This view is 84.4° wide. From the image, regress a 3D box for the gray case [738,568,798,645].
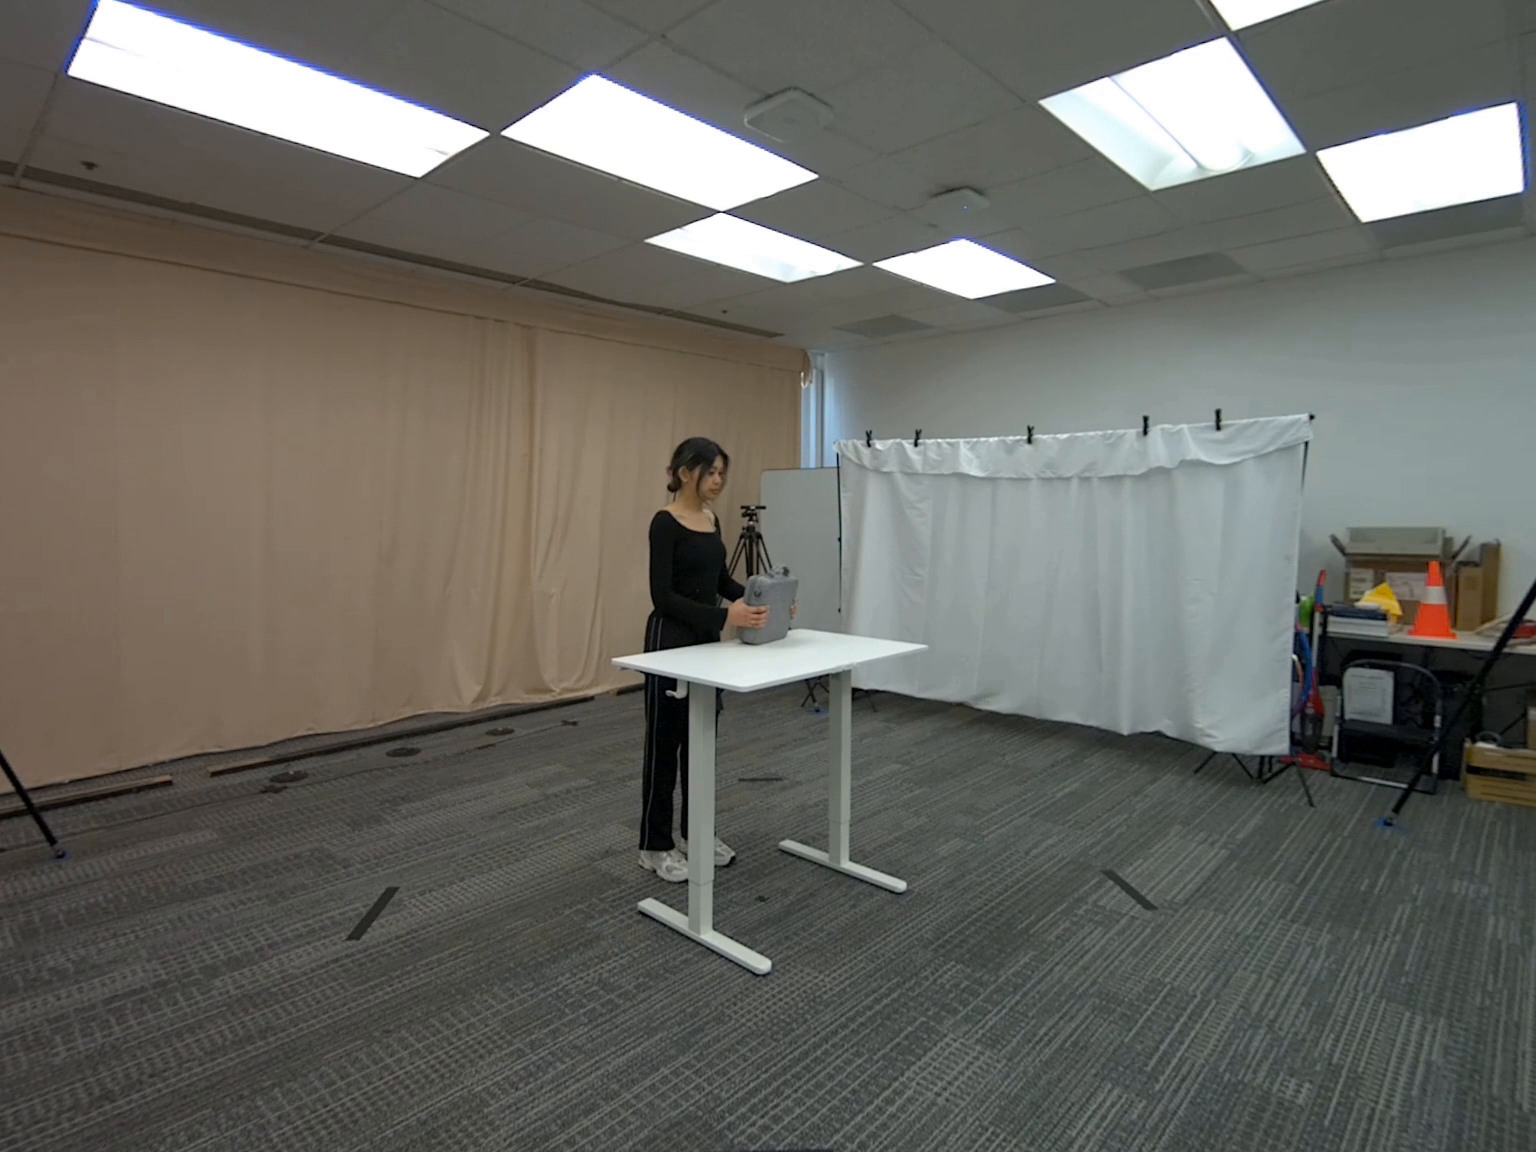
[{"bbox_3d":[0.006,0.118,3.146,0.108,0.259,0.250,18,12,29],"label":"gray case"}]
